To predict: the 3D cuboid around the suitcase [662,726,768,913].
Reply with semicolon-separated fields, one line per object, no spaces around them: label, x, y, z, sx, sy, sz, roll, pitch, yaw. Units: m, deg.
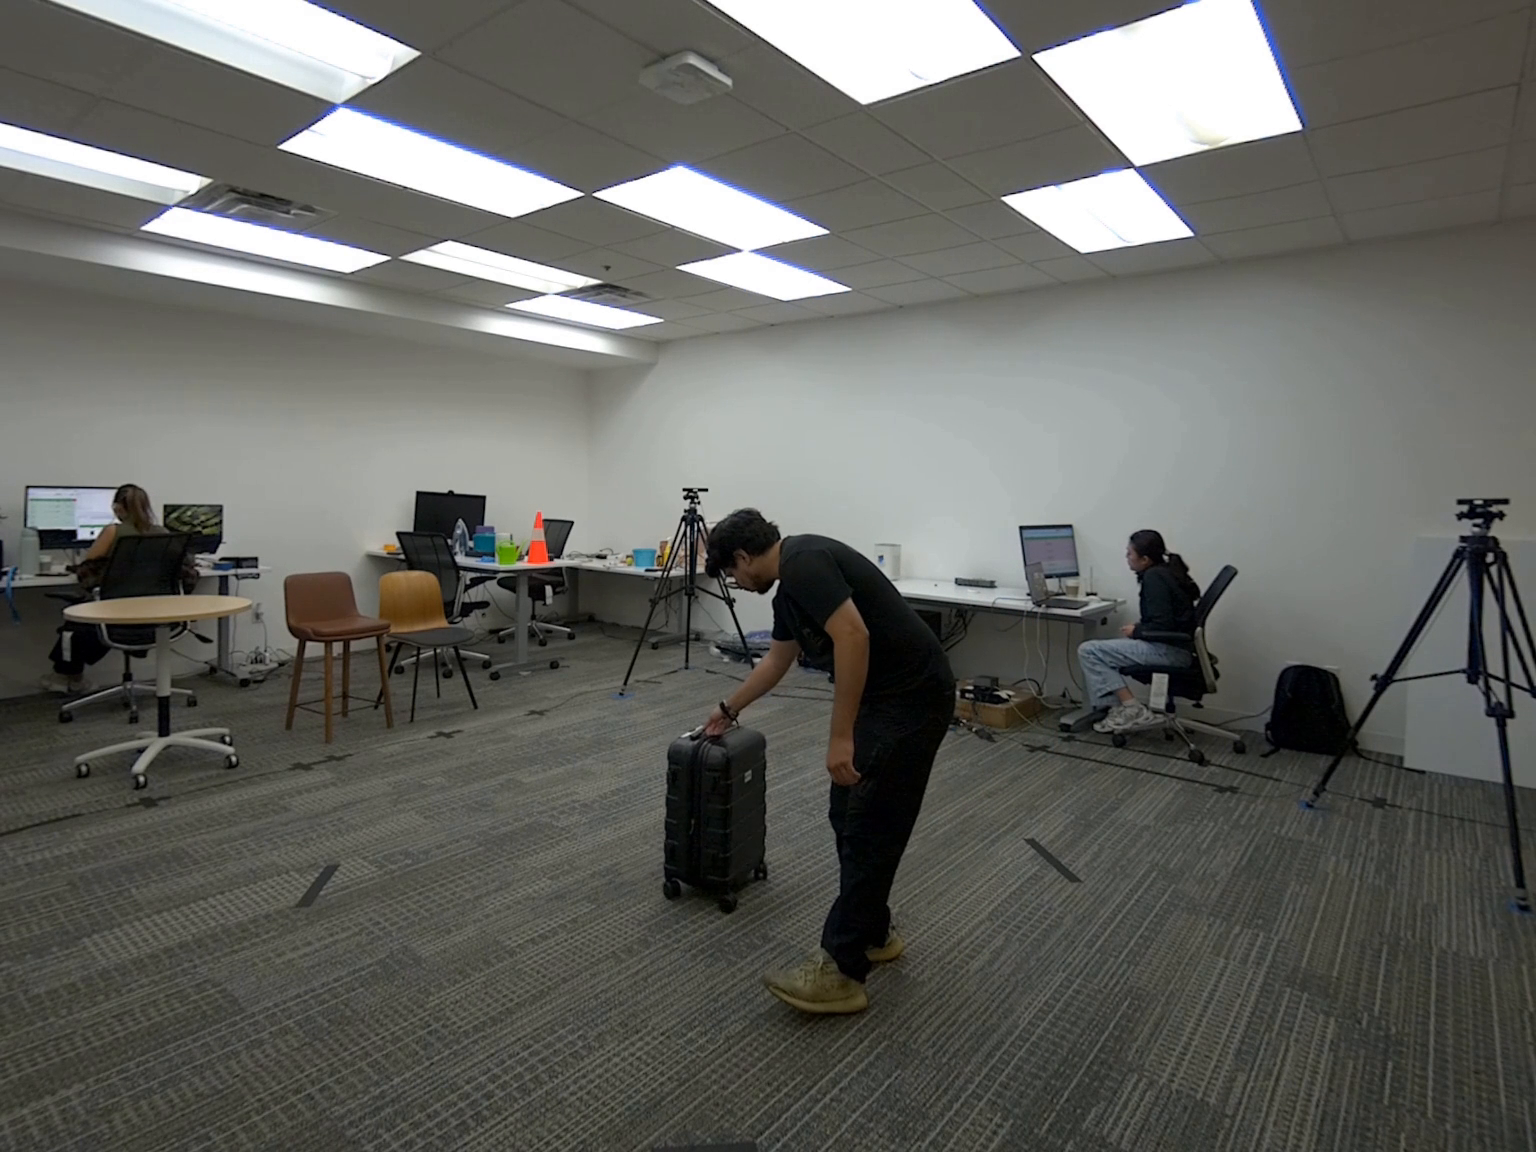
suitcase;-0.181;0.807;2.977;0.255;0.549;0.366;2;2;25
